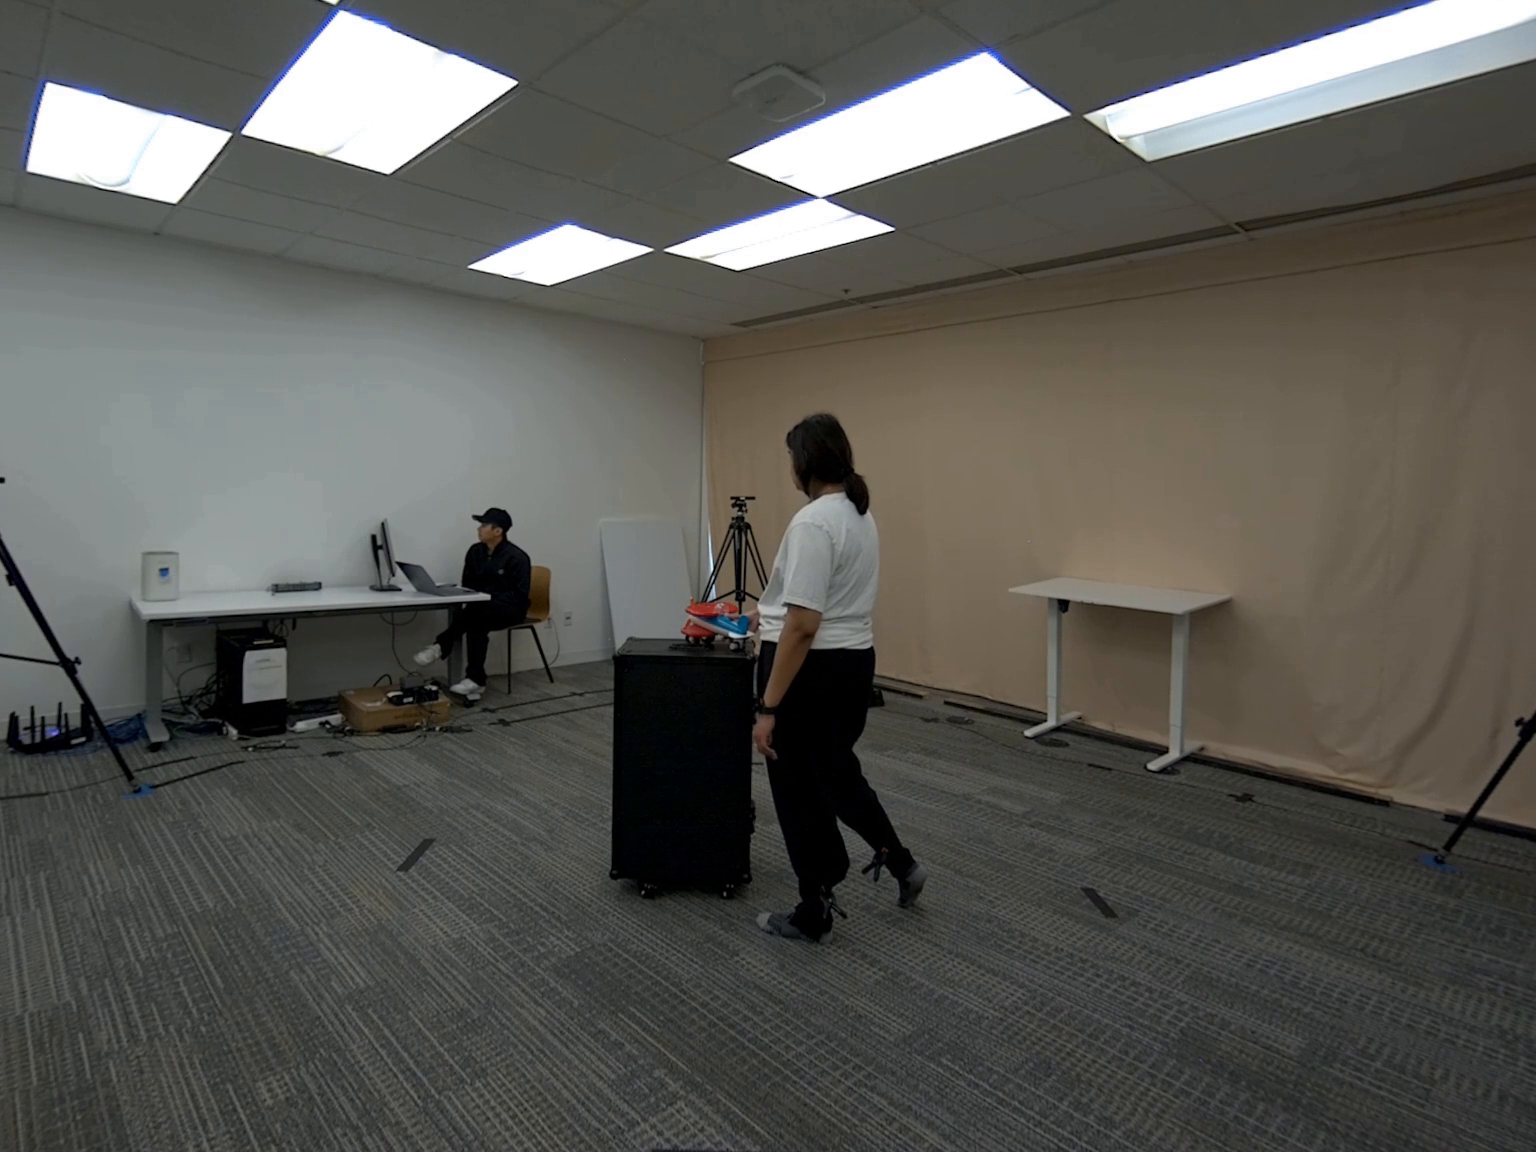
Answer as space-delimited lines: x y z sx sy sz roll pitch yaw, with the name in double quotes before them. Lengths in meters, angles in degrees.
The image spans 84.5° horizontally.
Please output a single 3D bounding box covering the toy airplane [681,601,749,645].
"toy airplane" -0.188 0.180 3.052 0.261 0.156 0.249 1 2 10
